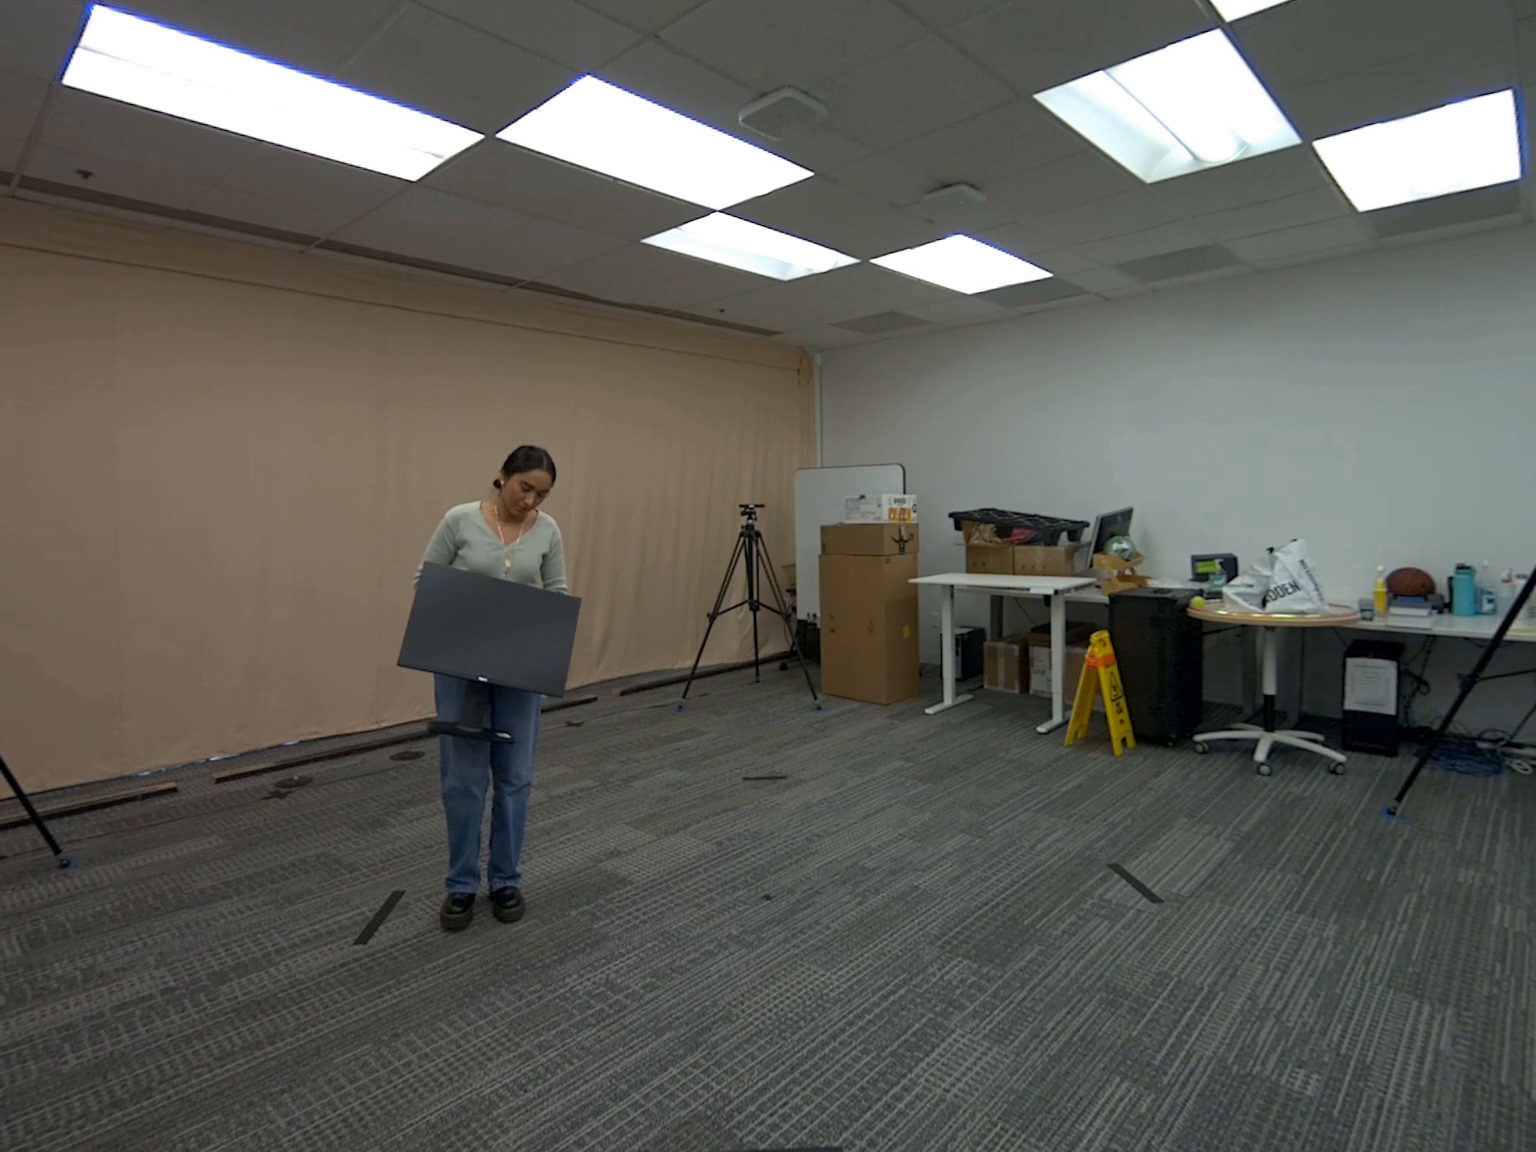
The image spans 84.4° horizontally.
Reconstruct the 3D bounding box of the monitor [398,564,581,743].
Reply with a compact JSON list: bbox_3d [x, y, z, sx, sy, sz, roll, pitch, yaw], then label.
[{"bbox_3d":[-0.925,0.262,2.774,0.517,0.517,0.178,15,-5,-21],"label":"monitor"}]
